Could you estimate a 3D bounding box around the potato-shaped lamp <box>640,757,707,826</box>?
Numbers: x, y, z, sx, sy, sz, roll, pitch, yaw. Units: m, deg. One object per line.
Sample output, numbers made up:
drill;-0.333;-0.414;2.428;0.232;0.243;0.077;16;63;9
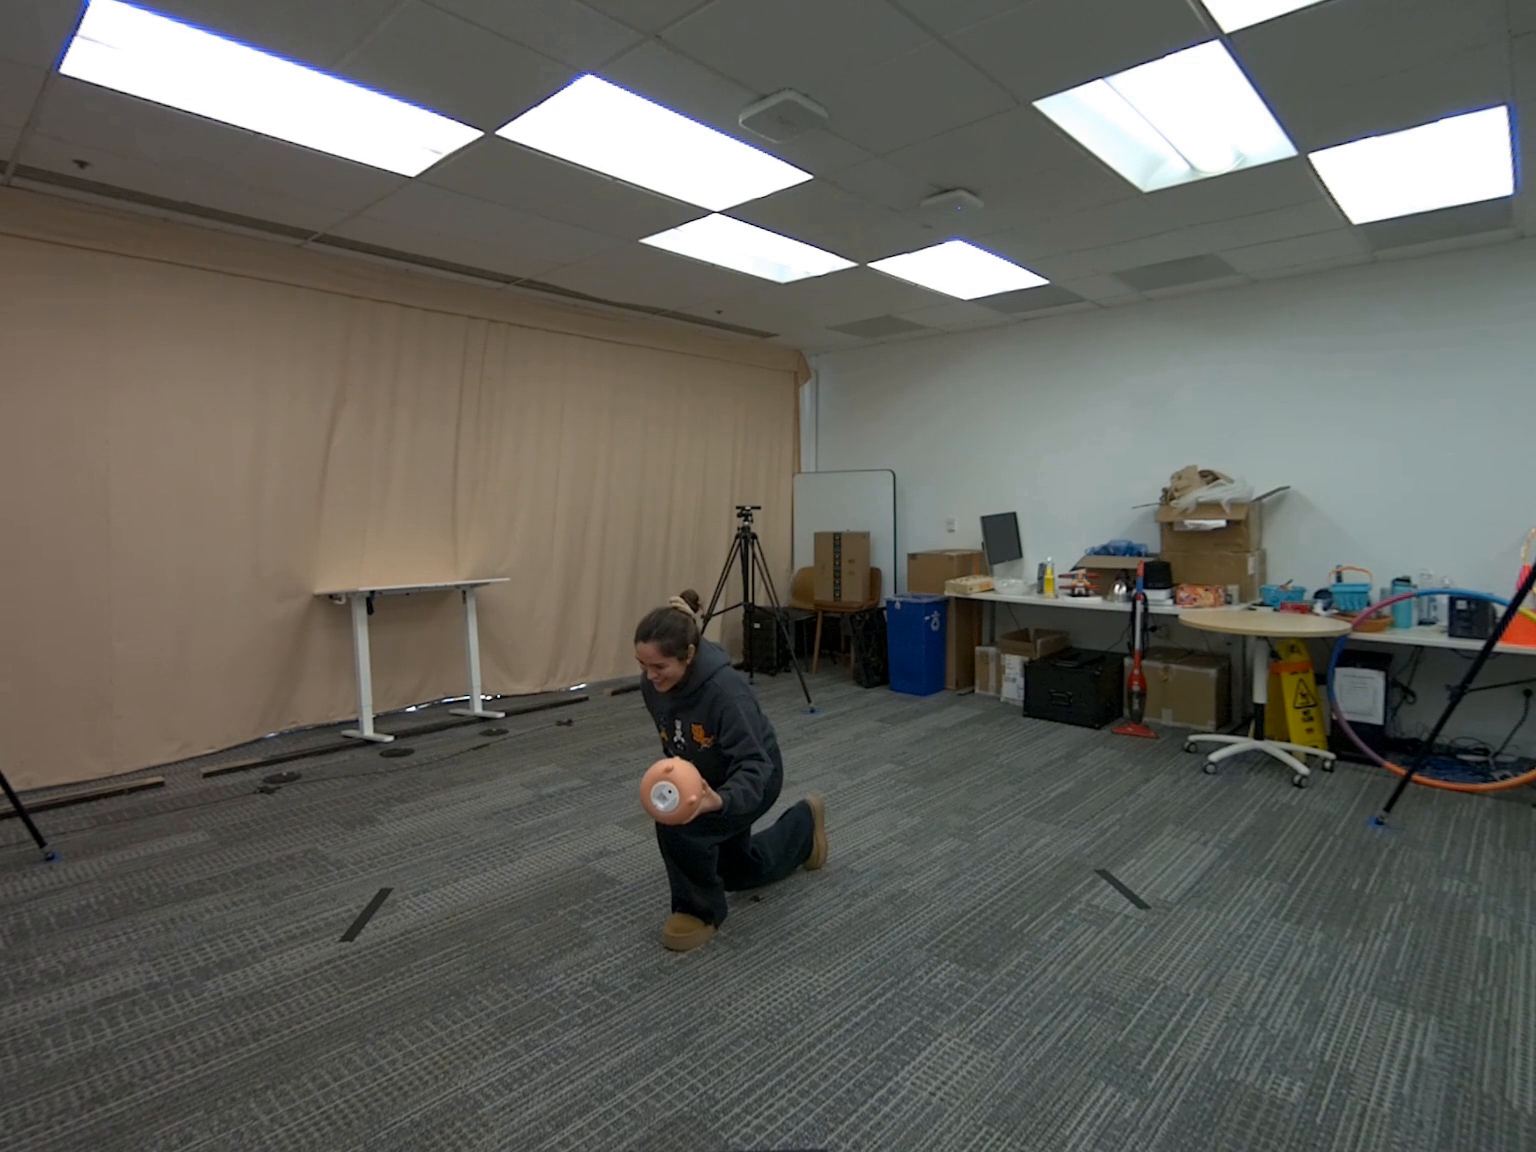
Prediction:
potato-shaped lamp;-0.233;0.563;2.268;0.172;0.166;0.195;-45;-8;13
